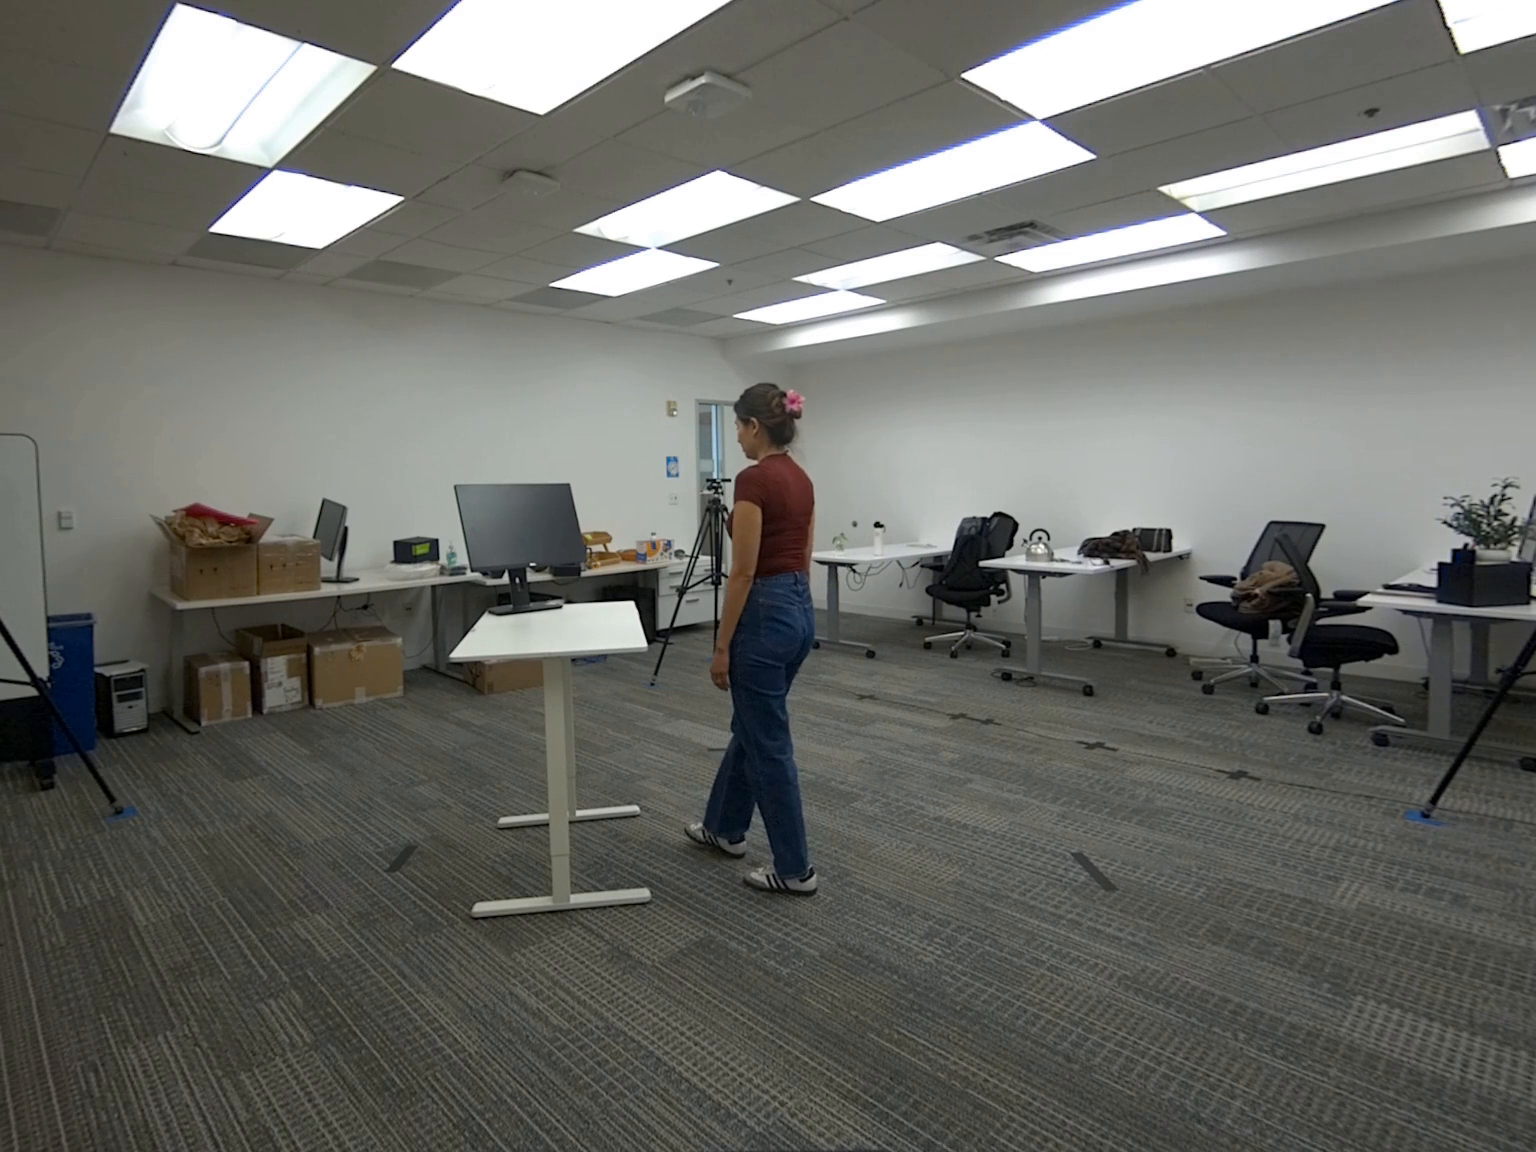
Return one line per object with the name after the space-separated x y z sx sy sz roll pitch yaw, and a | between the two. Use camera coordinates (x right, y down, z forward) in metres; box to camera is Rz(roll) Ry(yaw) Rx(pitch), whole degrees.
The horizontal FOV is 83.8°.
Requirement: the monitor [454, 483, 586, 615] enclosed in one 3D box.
-1.012 -0.115 3.483 0.192 0.522 0.525 -2 2 41 | monitor
